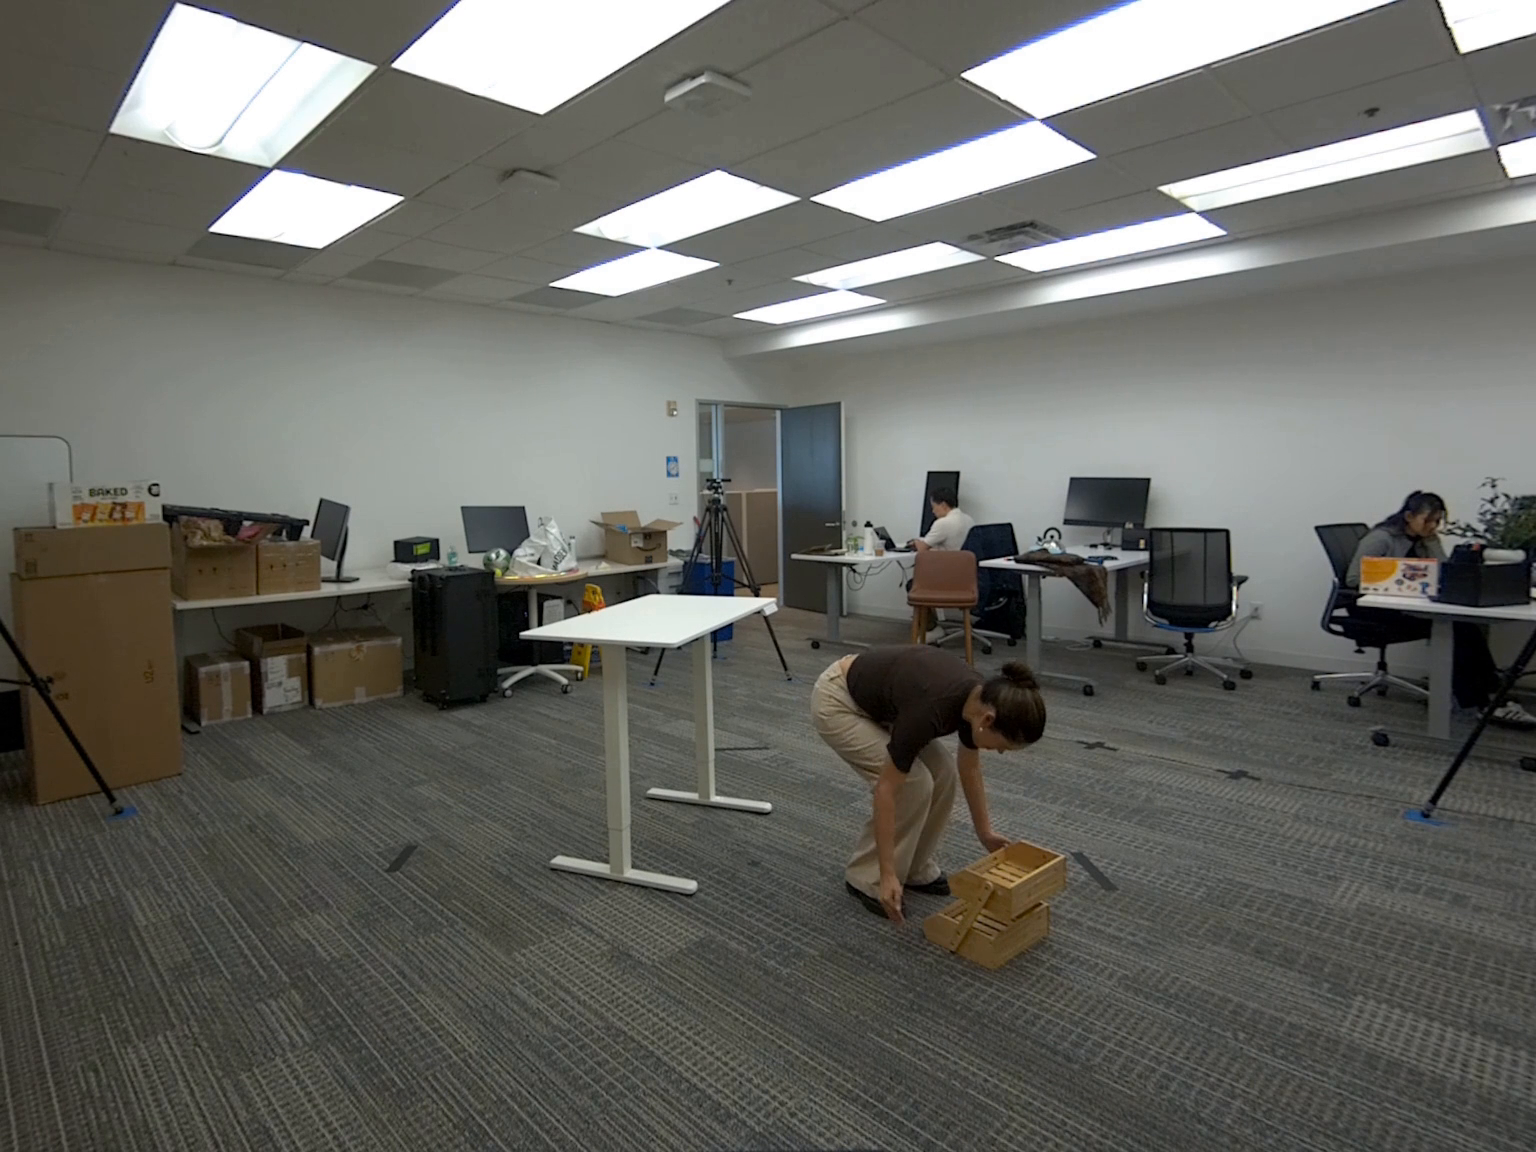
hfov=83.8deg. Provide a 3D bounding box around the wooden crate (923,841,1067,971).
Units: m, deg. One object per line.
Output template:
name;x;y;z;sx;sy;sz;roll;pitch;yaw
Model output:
wooden crate;0.682;0.961;2.562;0.316;0.272;0.311;-6;8;-40
